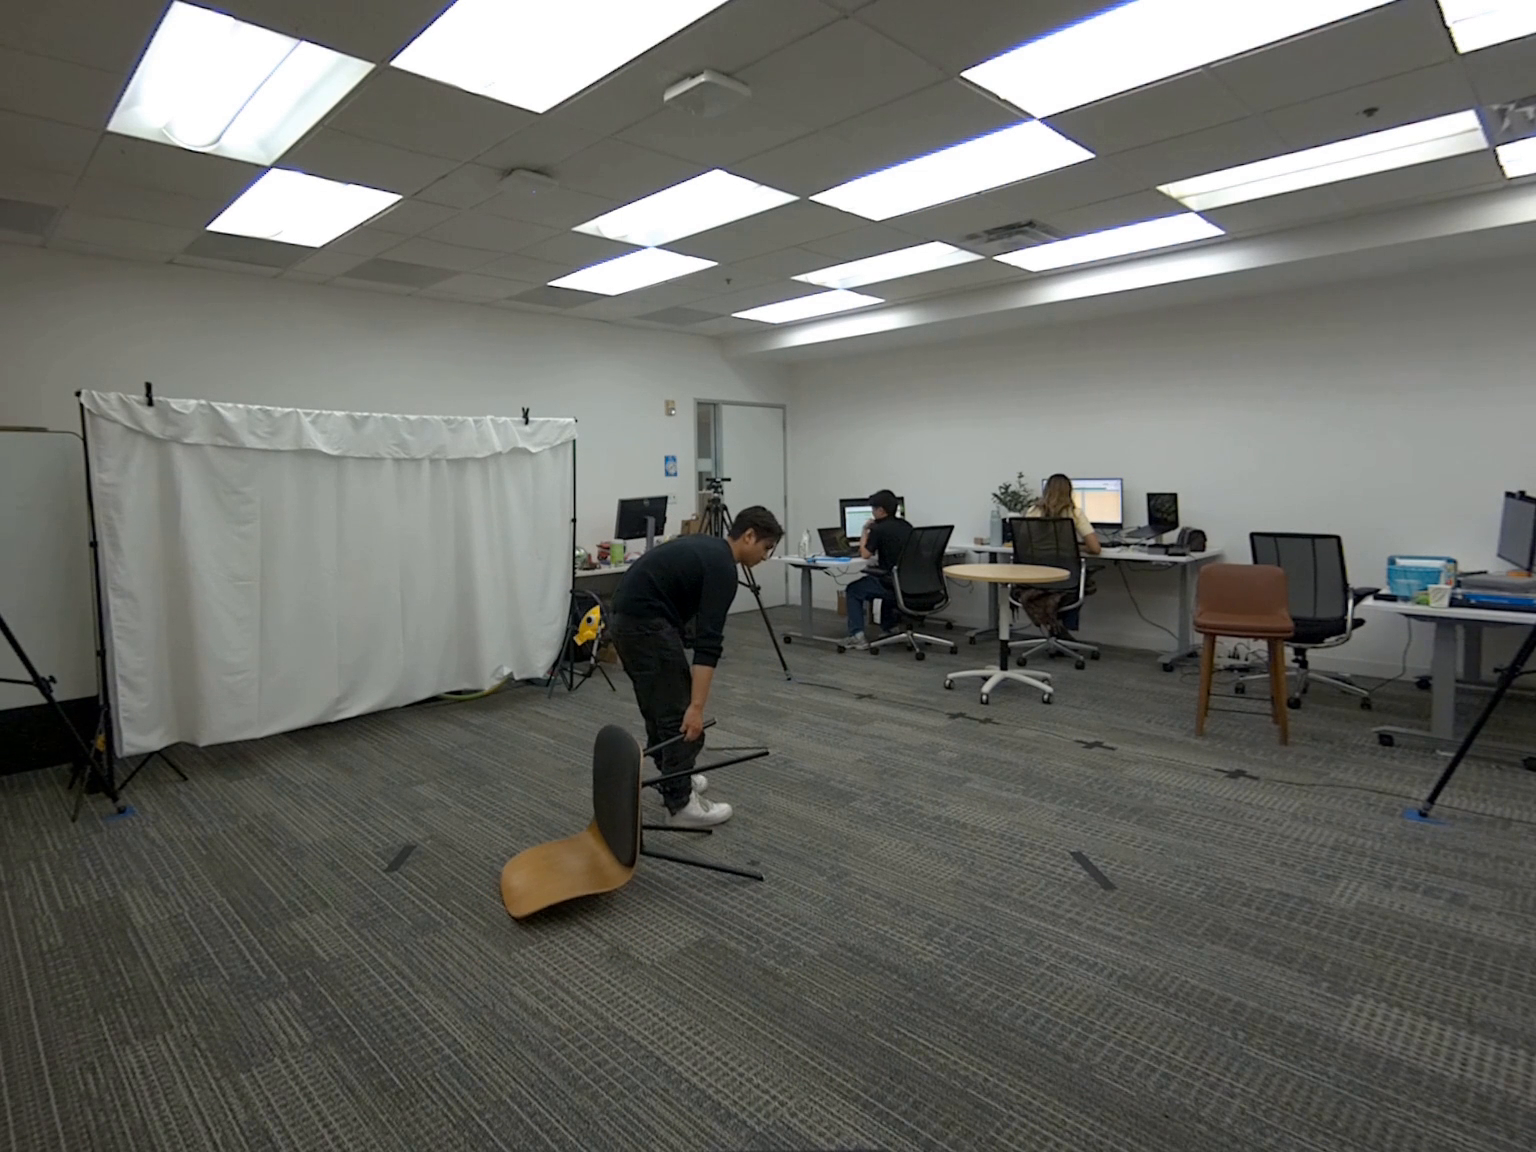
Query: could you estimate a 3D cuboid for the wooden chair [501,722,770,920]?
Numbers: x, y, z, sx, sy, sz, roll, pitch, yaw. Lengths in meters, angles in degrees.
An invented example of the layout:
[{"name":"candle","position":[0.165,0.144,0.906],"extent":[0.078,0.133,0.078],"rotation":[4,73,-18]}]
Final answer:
[{"name":"wooden chair","position":[-0.488,0.808,2.980],"extent":[0.860,0.521,0.490],"rotation":[-6,6,-25]}]
